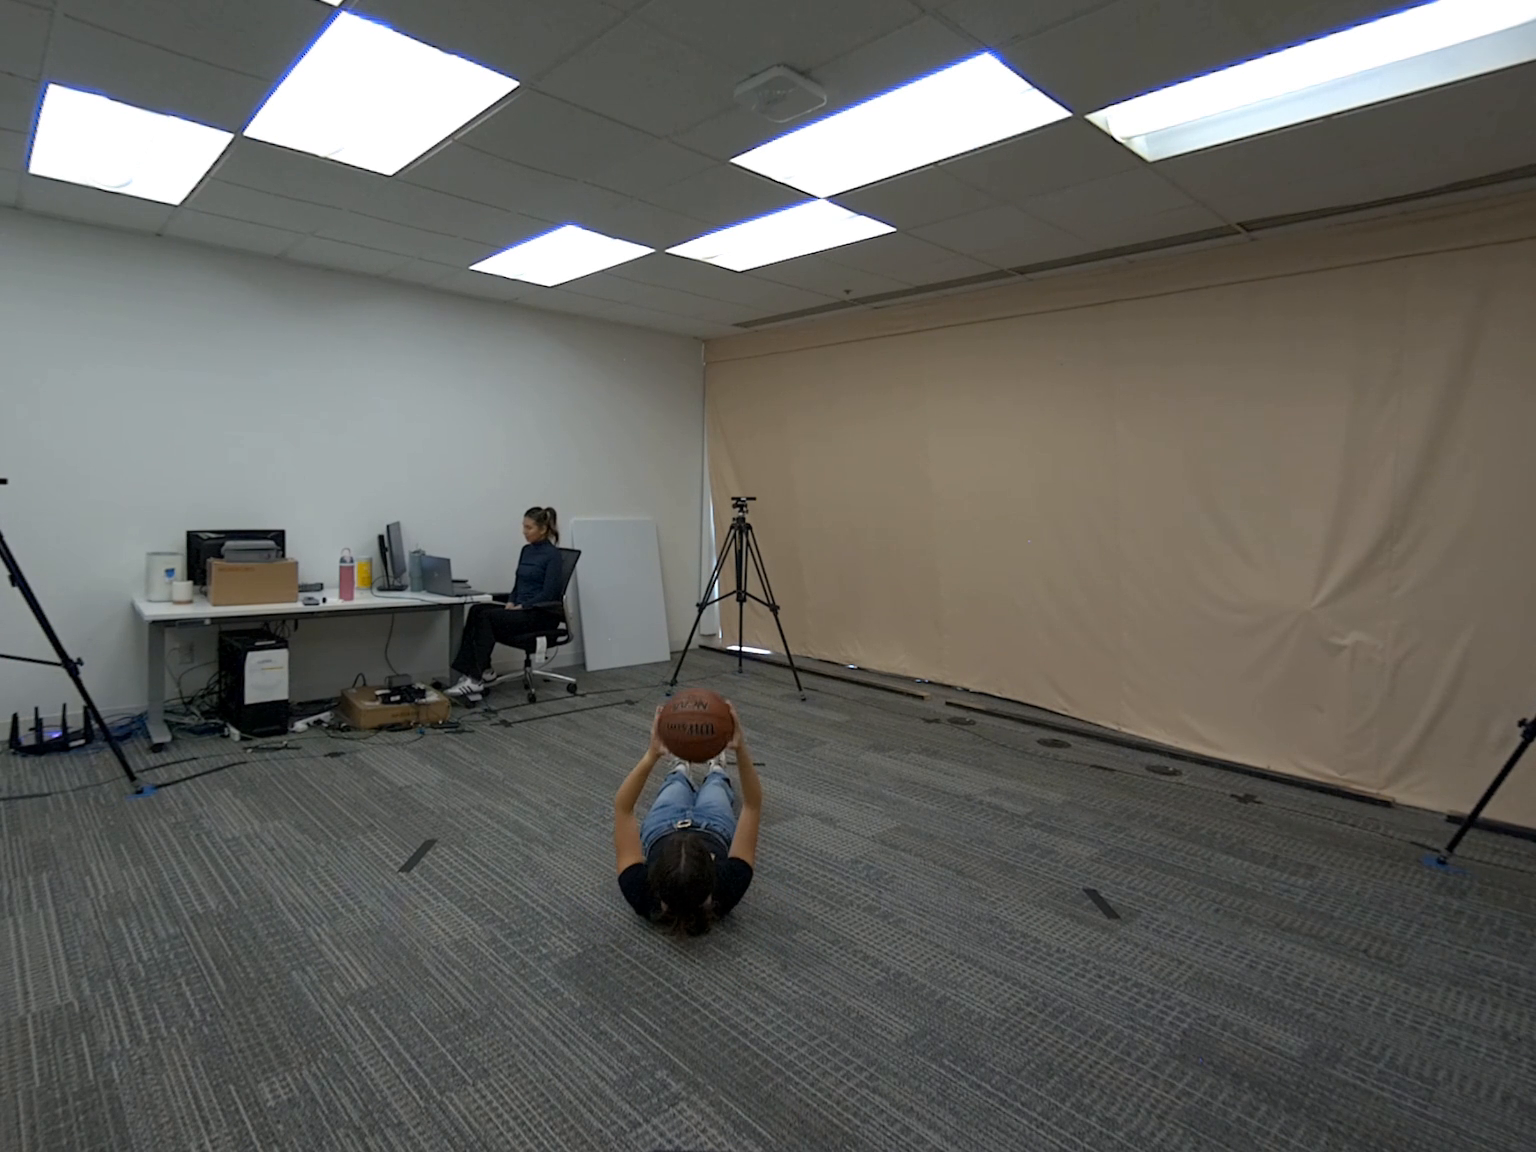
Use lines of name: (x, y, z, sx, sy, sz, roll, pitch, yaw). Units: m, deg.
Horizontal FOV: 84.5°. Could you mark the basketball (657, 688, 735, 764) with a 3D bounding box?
basketball: (-0.238, 0.517, 2.685, 0.236, 0.235, 0.237, 1, 4, -1)
